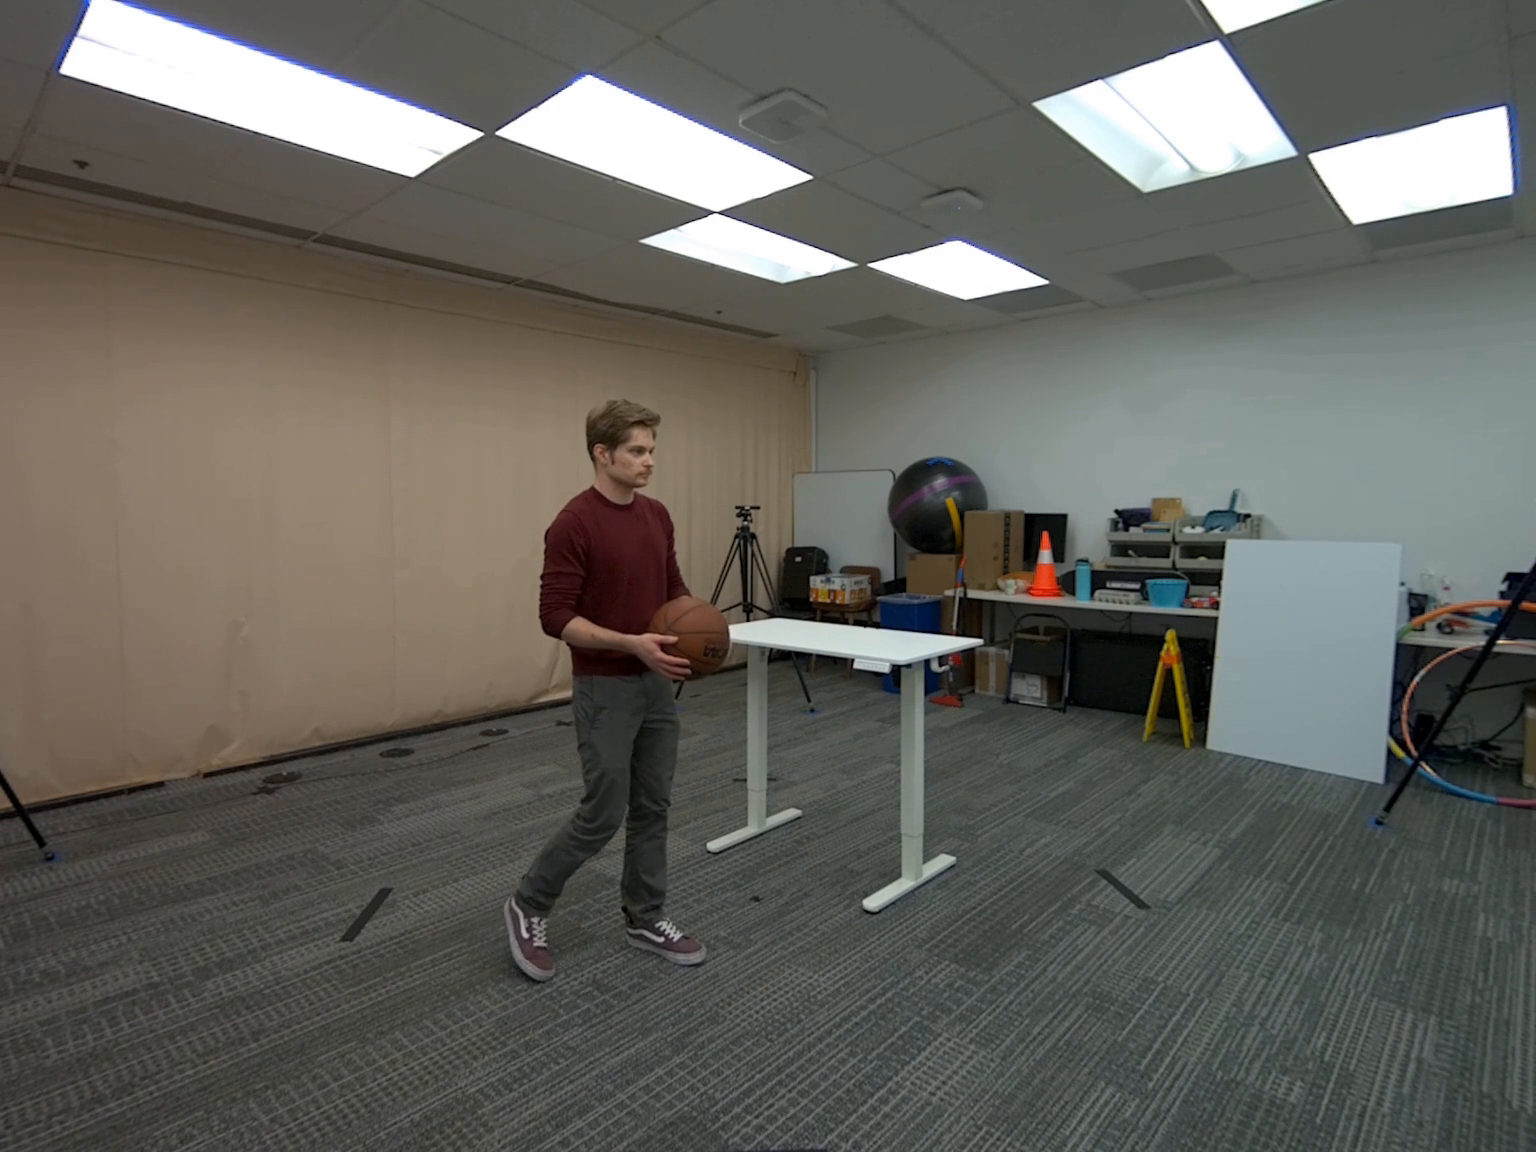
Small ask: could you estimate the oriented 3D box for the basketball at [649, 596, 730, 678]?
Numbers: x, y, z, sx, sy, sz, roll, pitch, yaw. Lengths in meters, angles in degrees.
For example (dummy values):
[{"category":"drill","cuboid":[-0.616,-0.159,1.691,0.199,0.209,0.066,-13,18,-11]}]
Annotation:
[{"category":"basketball","cuboid":[-0.236,0.182,2.401,0.236,0.235,0.237,0,4,-2]}]
